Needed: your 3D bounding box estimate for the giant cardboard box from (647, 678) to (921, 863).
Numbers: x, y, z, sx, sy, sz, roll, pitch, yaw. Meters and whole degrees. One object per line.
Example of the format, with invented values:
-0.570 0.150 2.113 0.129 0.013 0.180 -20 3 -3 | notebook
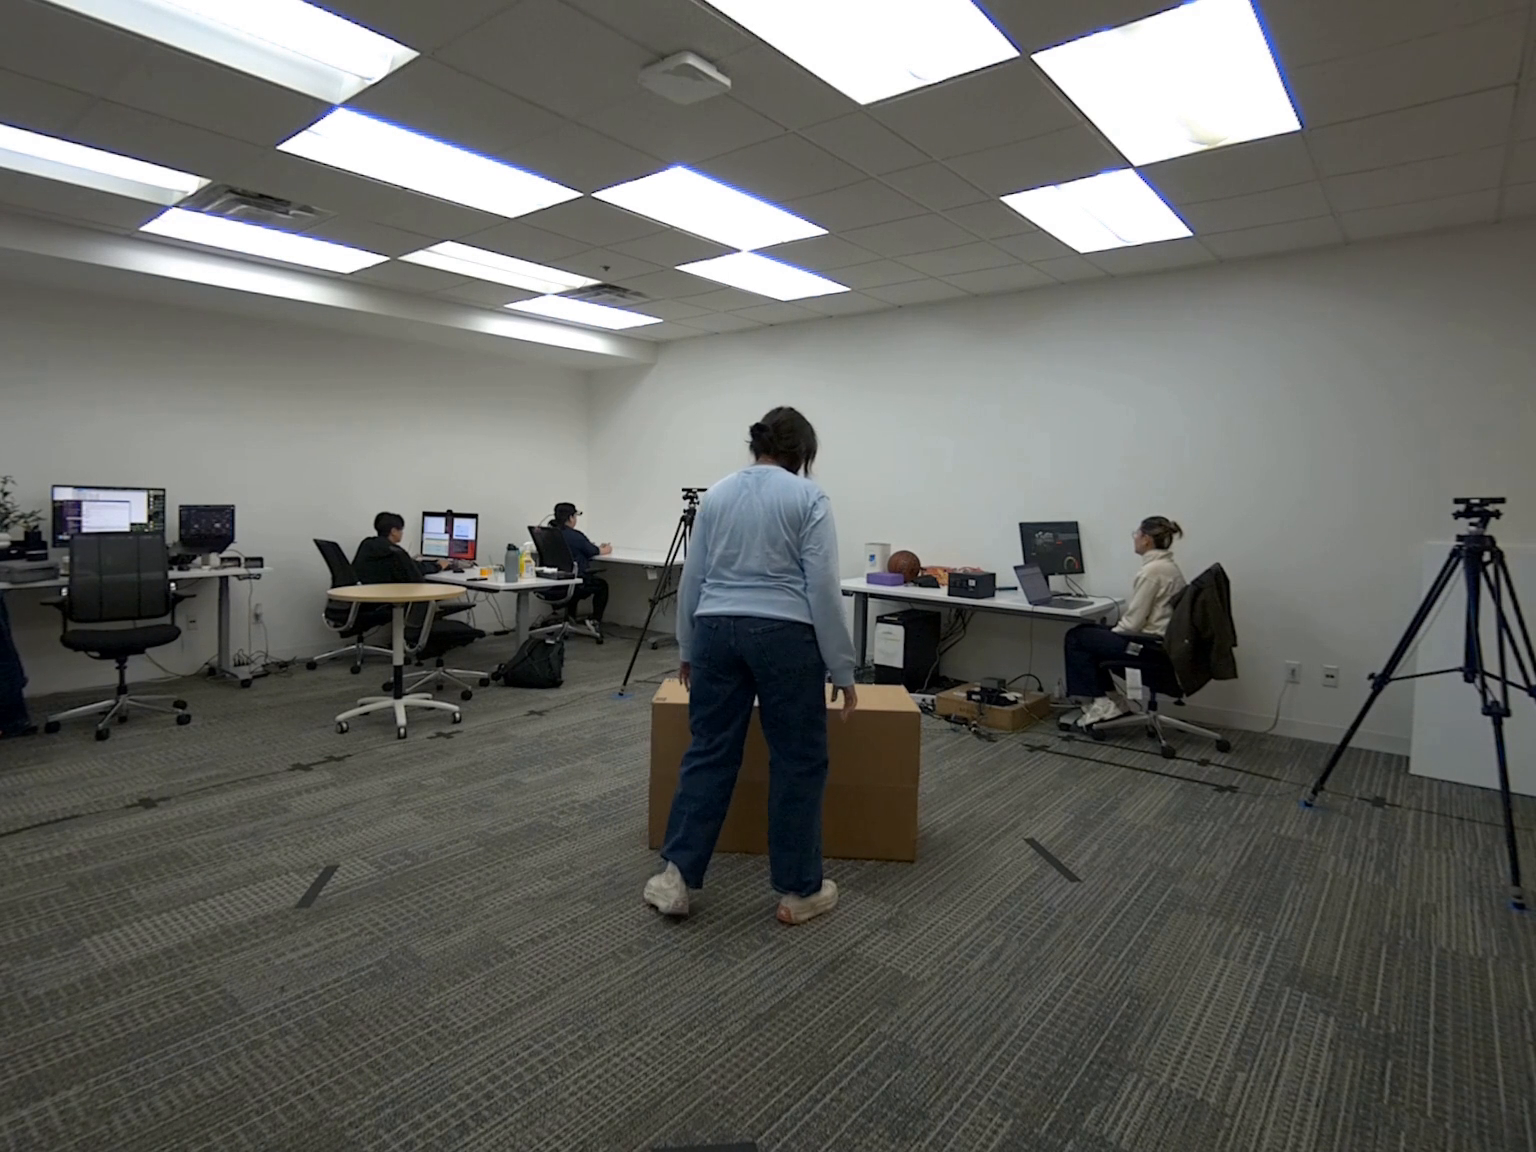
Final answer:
0.051 0.750 3.435 1.030 0.576 0.425 1 3 3 | giant cardboard box
